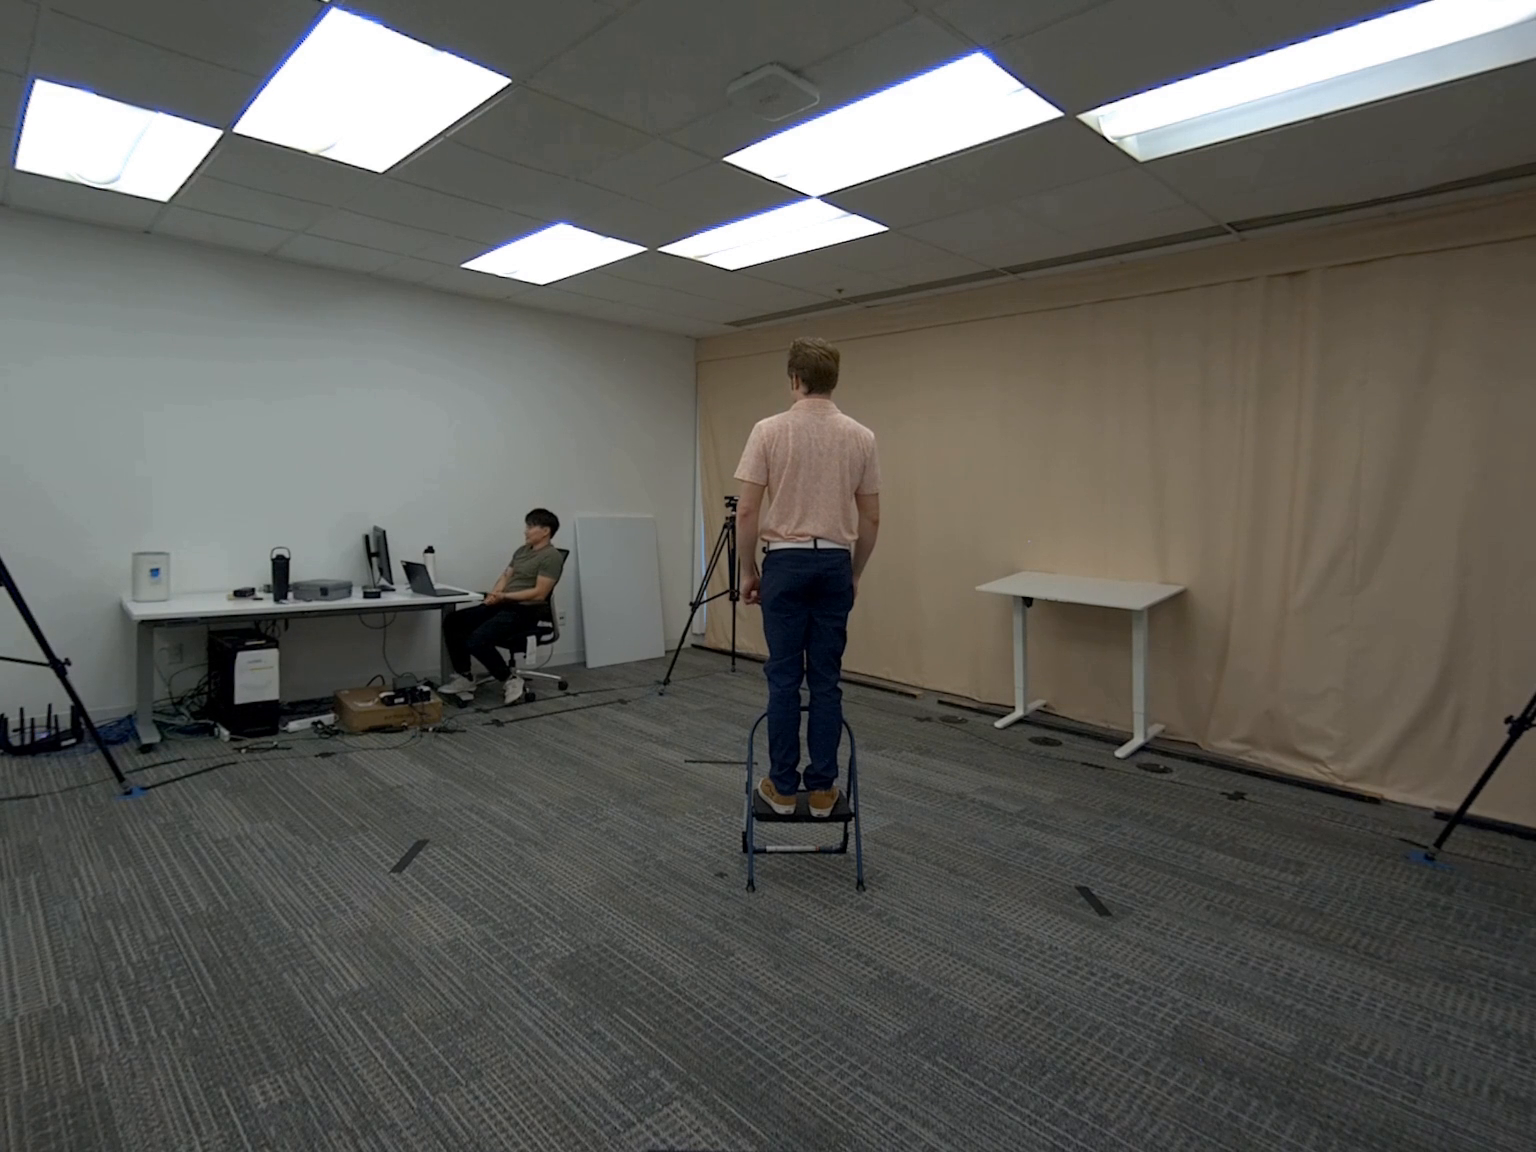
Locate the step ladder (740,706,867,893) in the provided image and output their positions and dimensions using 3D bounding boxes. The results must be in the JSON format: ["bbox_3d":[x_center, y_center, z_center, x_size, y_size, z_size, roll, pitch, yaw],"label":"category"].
[{"bbox_3d":[0.121,0.806,3.150,0.429,0.604,0.352,1,4,-5],"label":"step ladder"}]
